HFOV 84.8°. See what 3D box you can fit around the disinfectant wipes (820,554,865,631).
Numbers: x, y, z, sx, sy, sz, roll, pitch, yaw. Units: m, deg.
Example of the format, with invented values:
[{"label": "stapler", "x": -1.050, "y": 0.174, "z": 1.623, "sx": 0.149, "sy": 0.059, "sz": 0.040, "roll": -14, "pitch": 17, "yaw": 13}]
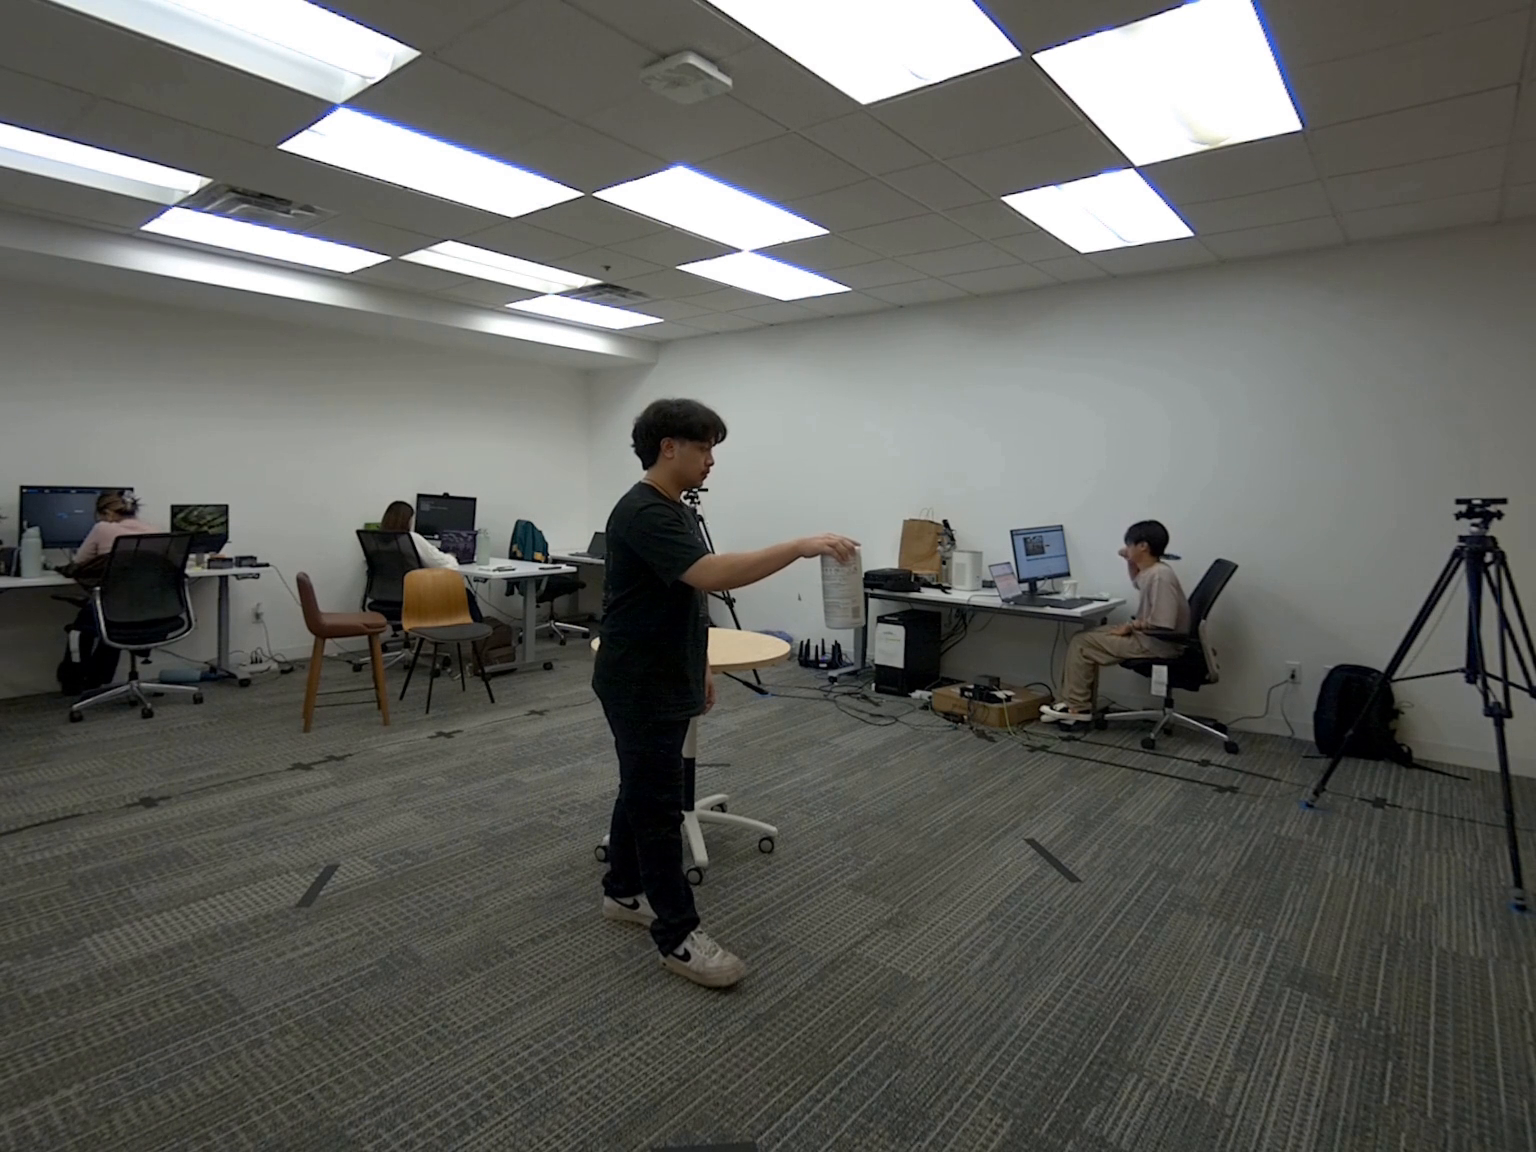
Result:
[{"label": "disinfectant wipes", "x": 0.199, "y": 0.029, "z": 2.272, "sx": 0.118, "sy": 0.217, "sz": 0.118, "roll": -3, "pitch": 3, "yaw": -2}]
